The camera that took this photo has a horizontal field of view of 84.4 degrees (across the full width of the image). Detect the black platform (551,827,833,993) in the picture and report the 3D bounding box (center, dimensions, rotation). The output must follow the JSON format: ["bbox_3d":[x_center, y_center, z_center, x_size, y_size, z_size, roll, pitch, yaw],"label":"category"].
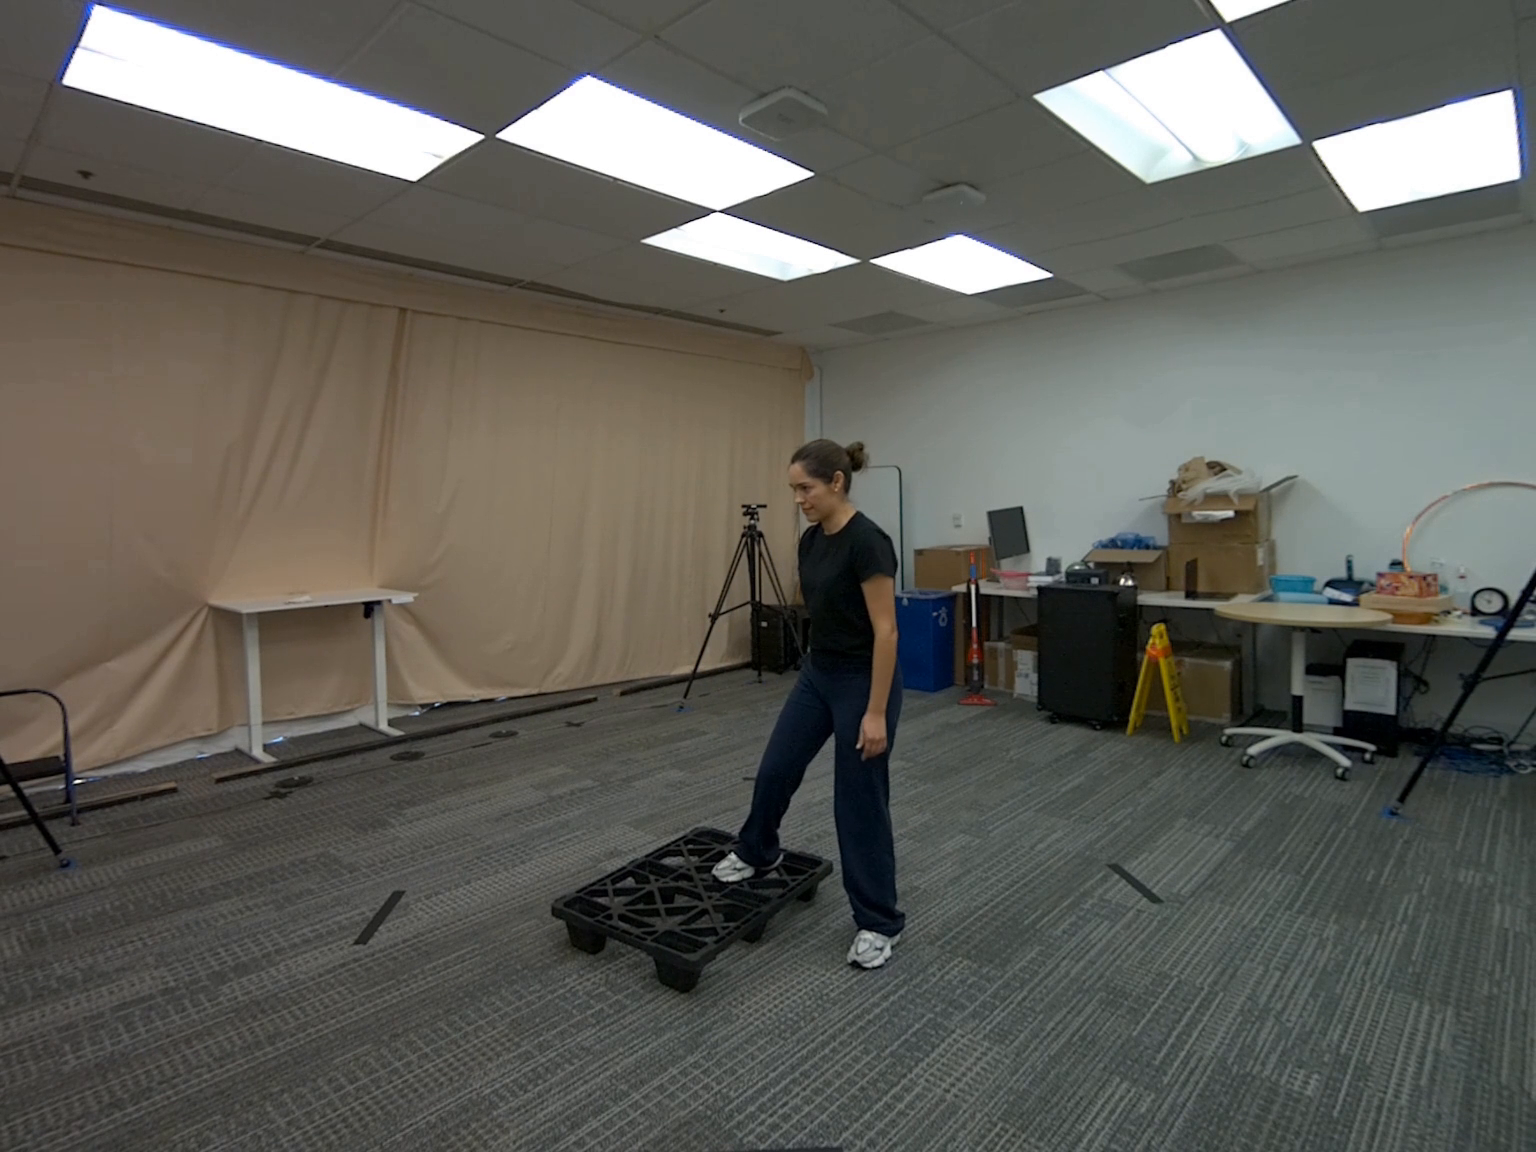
[{"bbox_3d":[-0.209,1.090,2.830,0.624,0.143,0.783,3,7,34],"label":"black platform"}]
